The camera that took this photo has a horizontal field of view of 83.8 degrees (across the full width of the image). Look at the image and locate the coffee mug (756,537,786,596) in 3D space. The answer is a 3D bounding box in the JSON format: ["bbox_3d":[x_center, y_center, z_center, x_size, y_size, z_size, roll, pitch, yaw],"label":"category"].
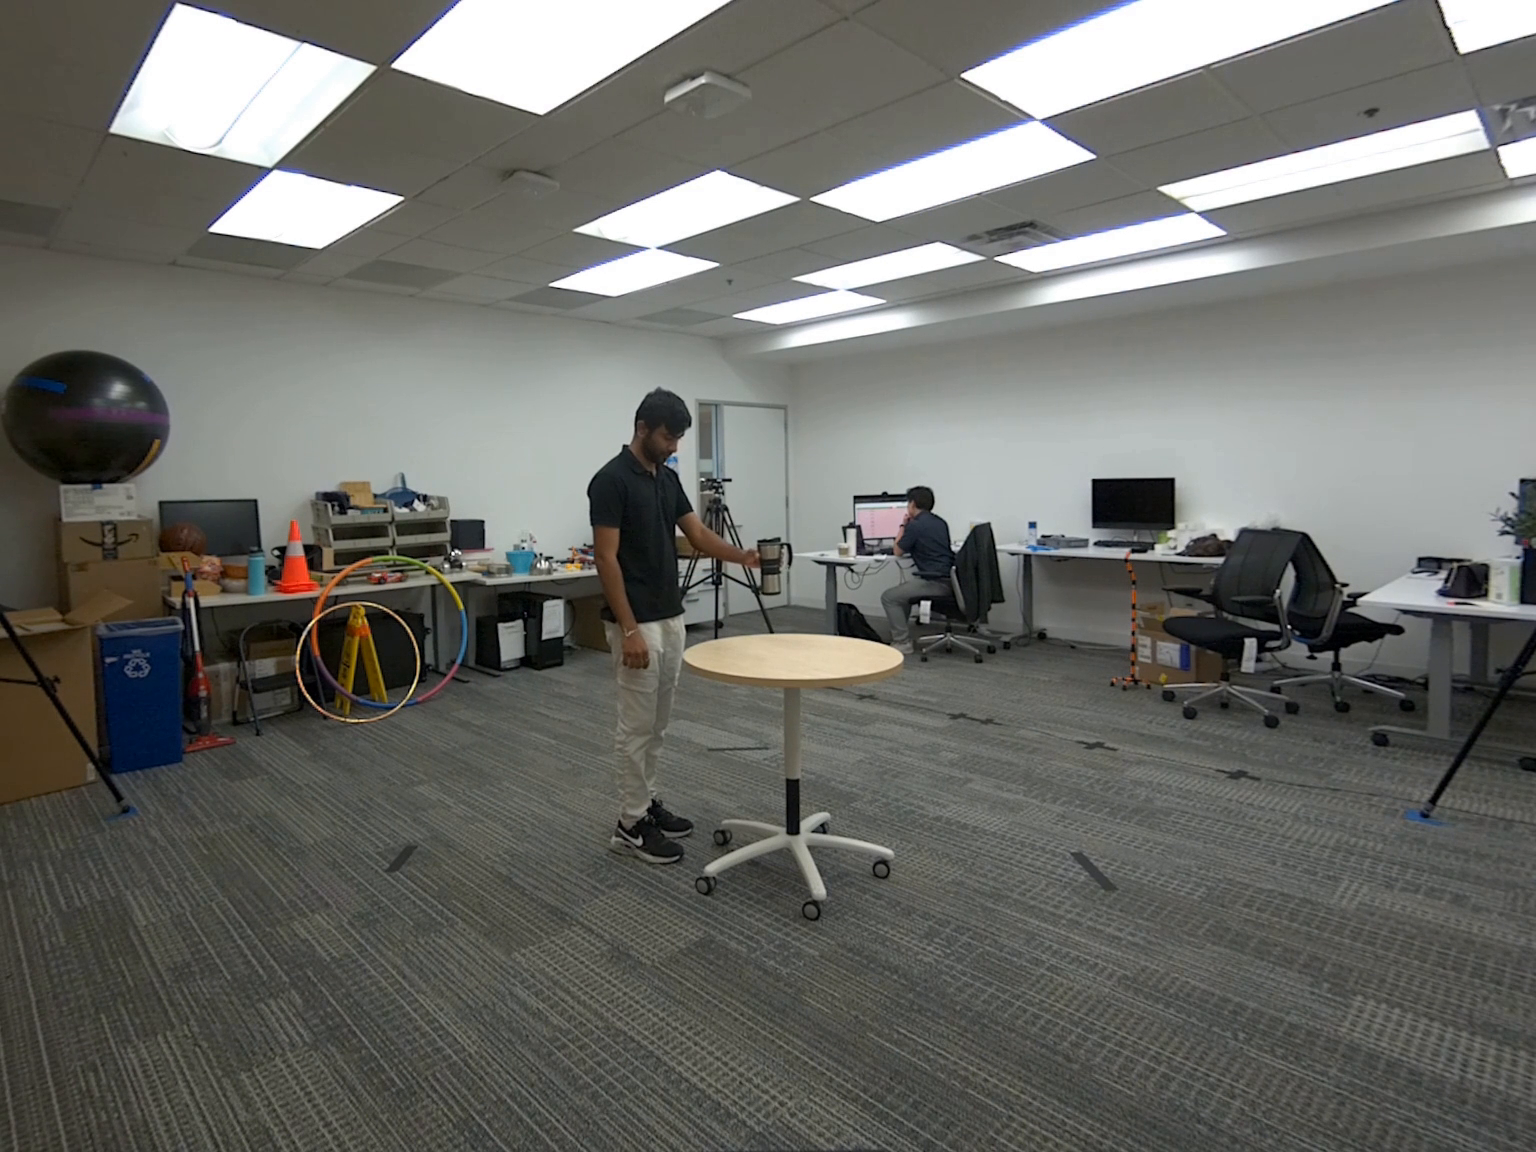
[{"bbox_3d":[0.024,-0.033,3.036,0.124,0.202,0.086,-3,3,20],"label":"coffee mug"}]
